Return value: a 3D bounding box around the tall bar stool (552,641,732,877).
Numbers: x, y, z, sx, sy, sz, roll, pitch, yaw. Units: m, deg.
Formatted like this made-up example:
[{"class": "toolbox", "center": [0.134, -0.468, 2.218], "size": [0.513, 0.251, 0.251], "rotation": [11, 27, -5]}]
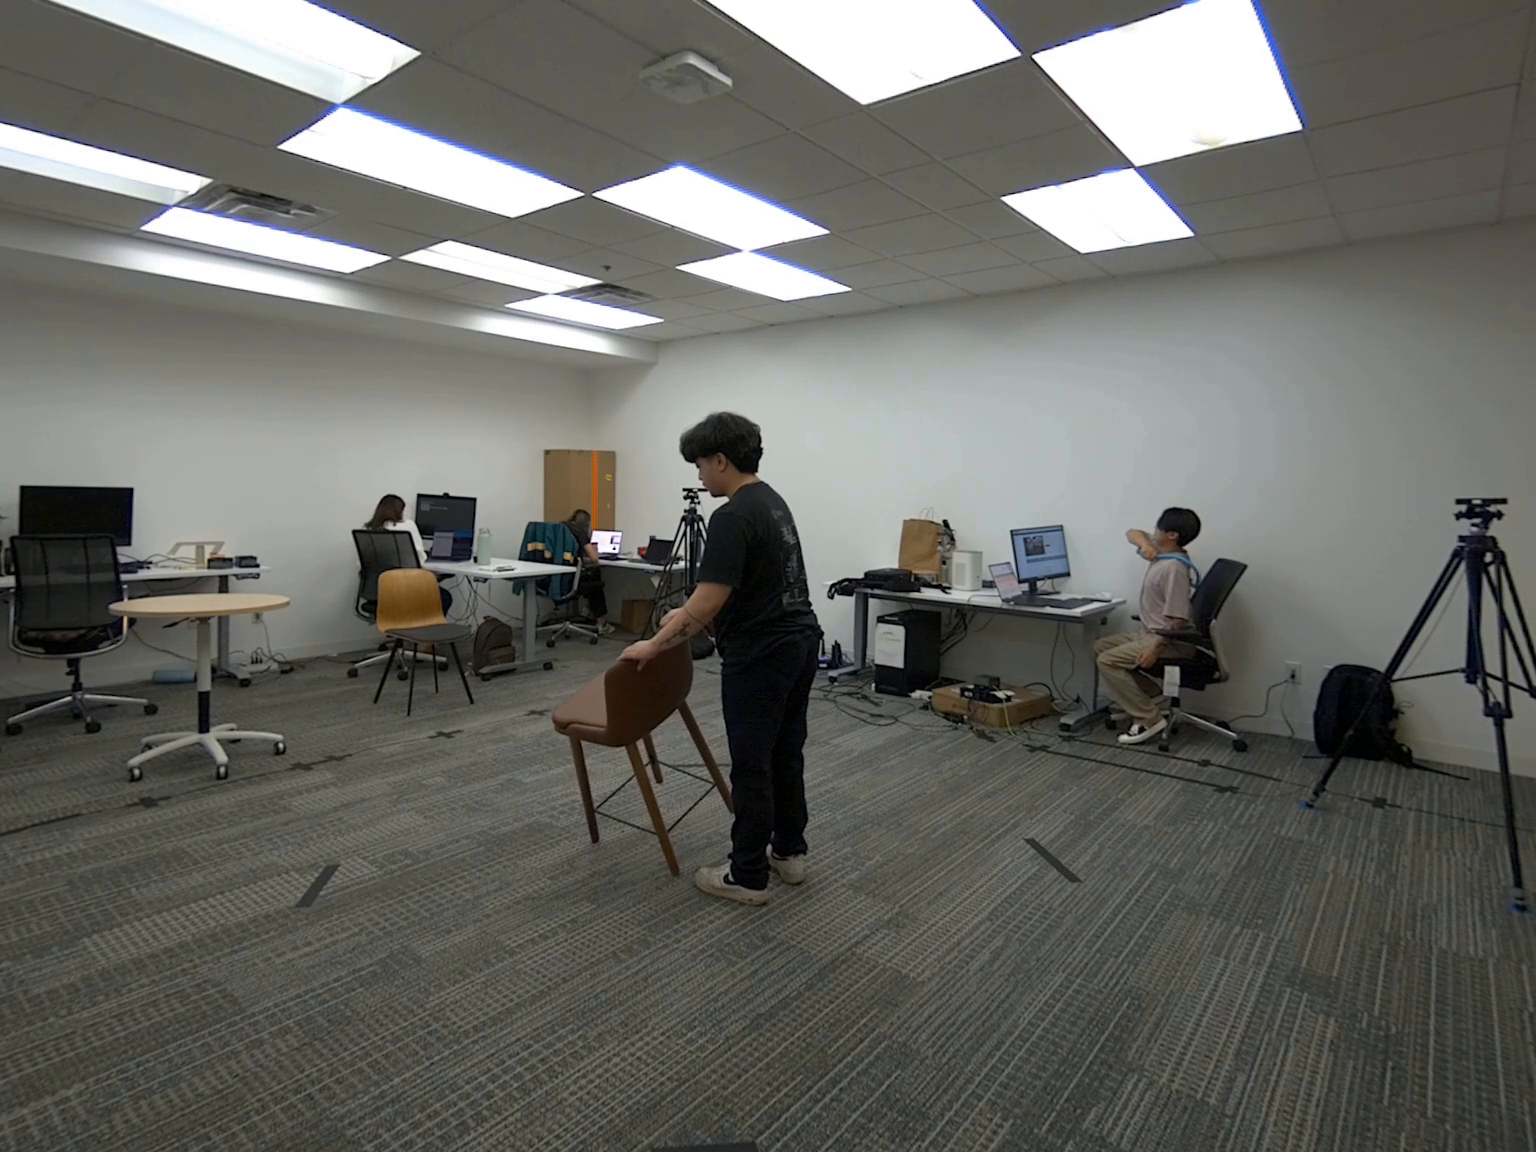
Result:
[{"class": "tall bar stool", "center": [-0.500, 0.587, 3.170], "size": [0.484, 0.869, 0.451], "rotation": [8, 29, 39]}]
